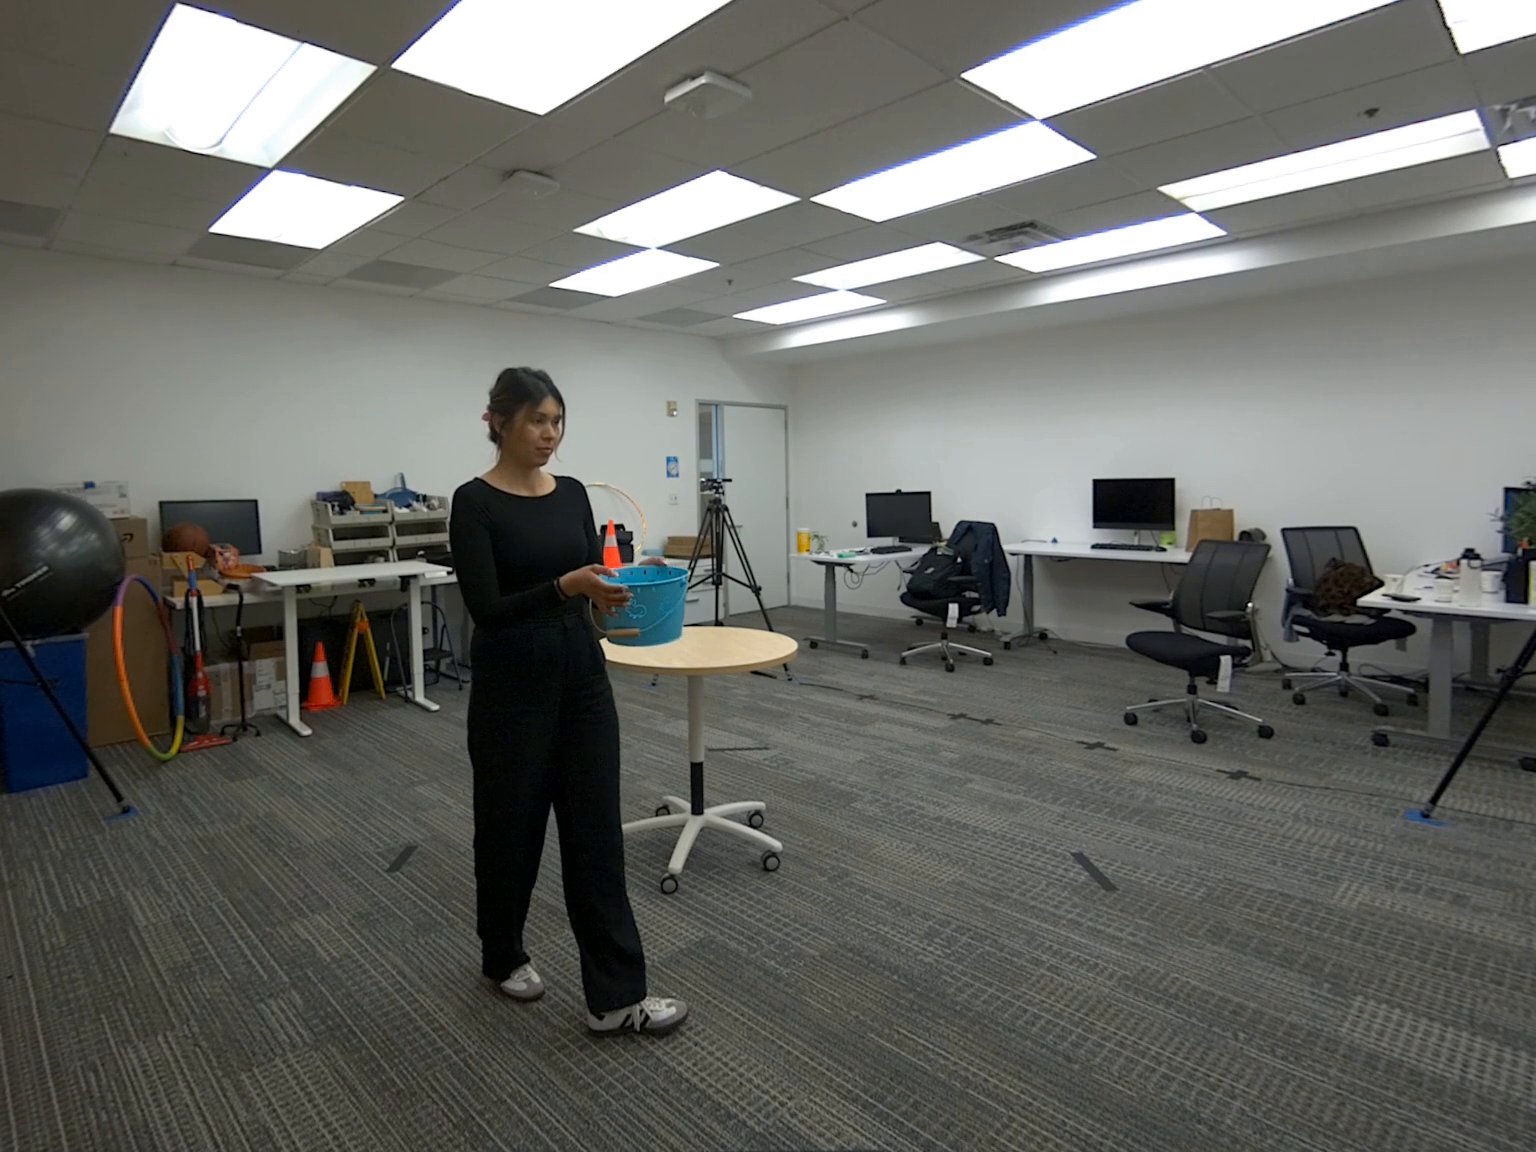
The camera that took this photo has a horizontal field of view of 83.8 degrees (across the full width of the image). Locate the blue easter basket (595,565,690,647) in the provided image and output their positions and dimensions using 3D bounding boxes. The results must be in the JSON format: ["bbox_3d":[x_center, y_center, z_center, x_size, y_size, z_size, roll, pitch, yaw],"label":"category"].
[{"bbox_3d":[-0.312,0.075,2.026,0.243,0.154,0.246,-3,9,-1],"label":"blue easter basket"}]
